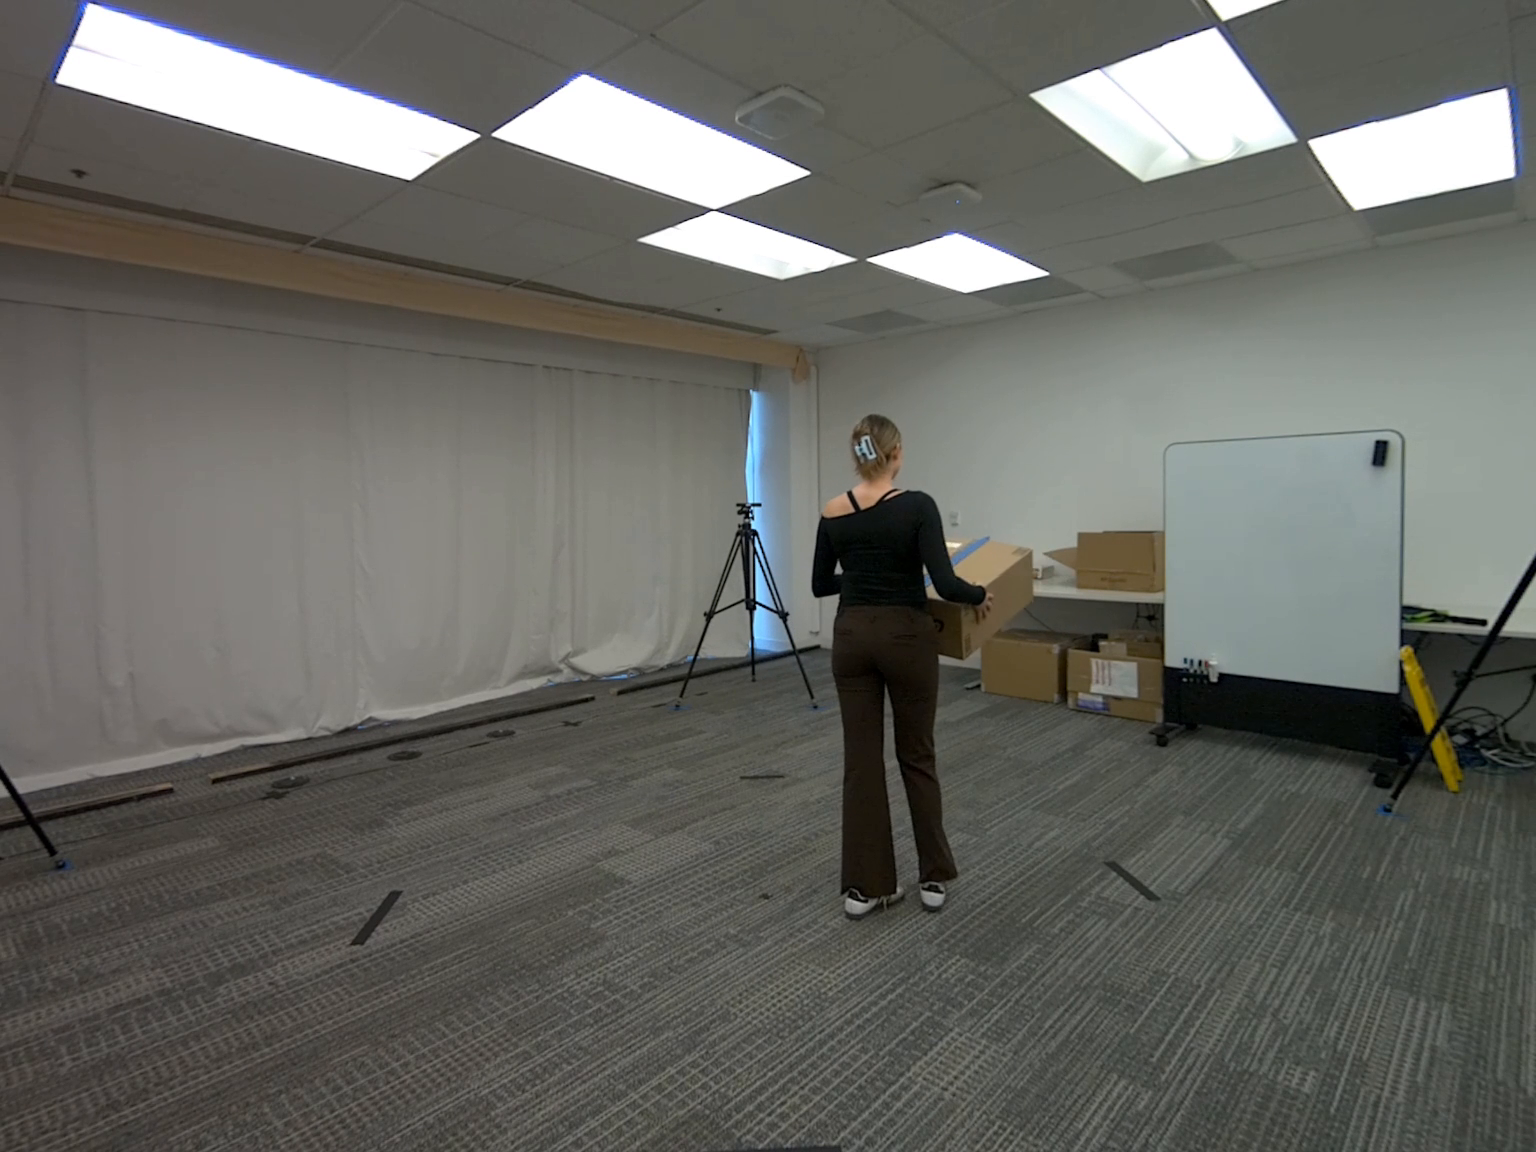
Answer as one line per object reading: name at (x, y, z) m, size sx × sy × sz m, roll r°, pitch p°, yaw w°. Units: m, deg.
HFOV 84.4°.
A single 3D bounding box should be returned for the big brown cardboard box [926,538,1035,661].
big brown cardboard box at (0.687, 0.061, 3.185) m, size 0.432 × 0.229 × 0.578 m, roll 11°, pitch 29°, yaw 40°
